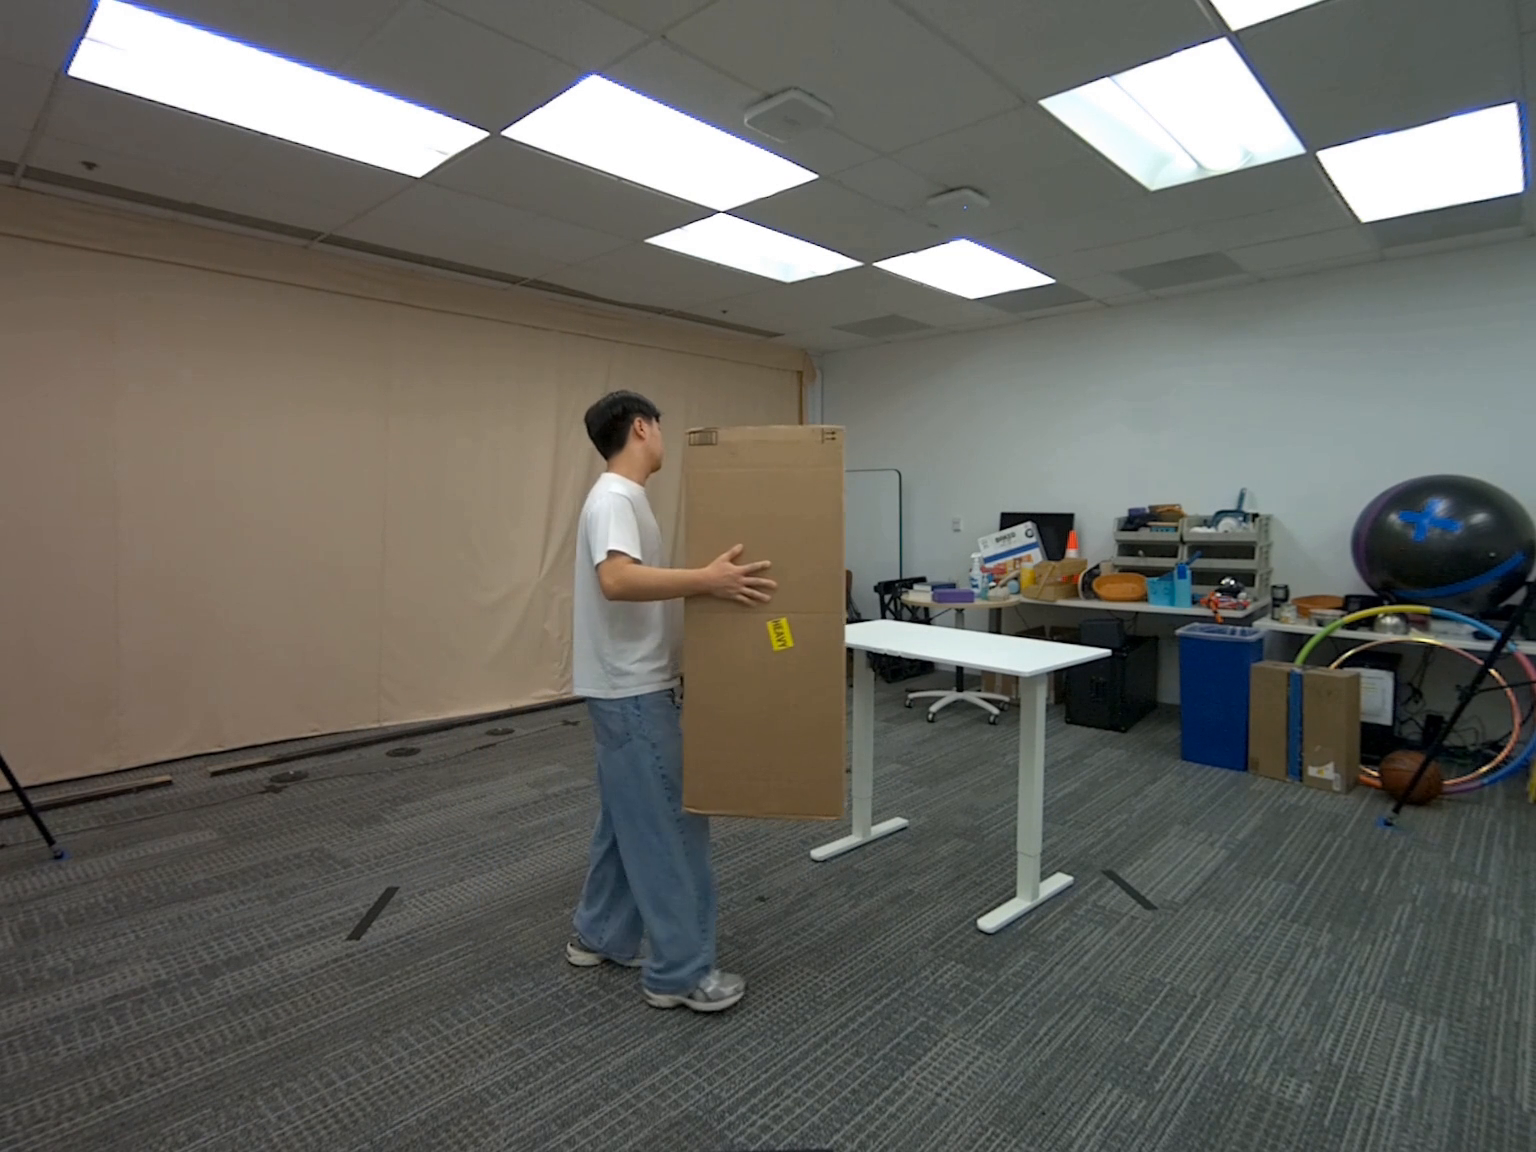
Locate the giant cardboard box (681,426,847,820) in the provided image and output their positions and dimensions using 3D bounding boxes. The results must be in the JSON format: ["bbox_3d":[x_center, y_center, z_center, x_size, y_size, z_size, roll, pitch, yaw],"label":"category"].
[{"bbox_3d":[0.006,0.116,2.477,0.430,1.026,0.572,0,-1,6],"label":"giant cardboard box"}]
